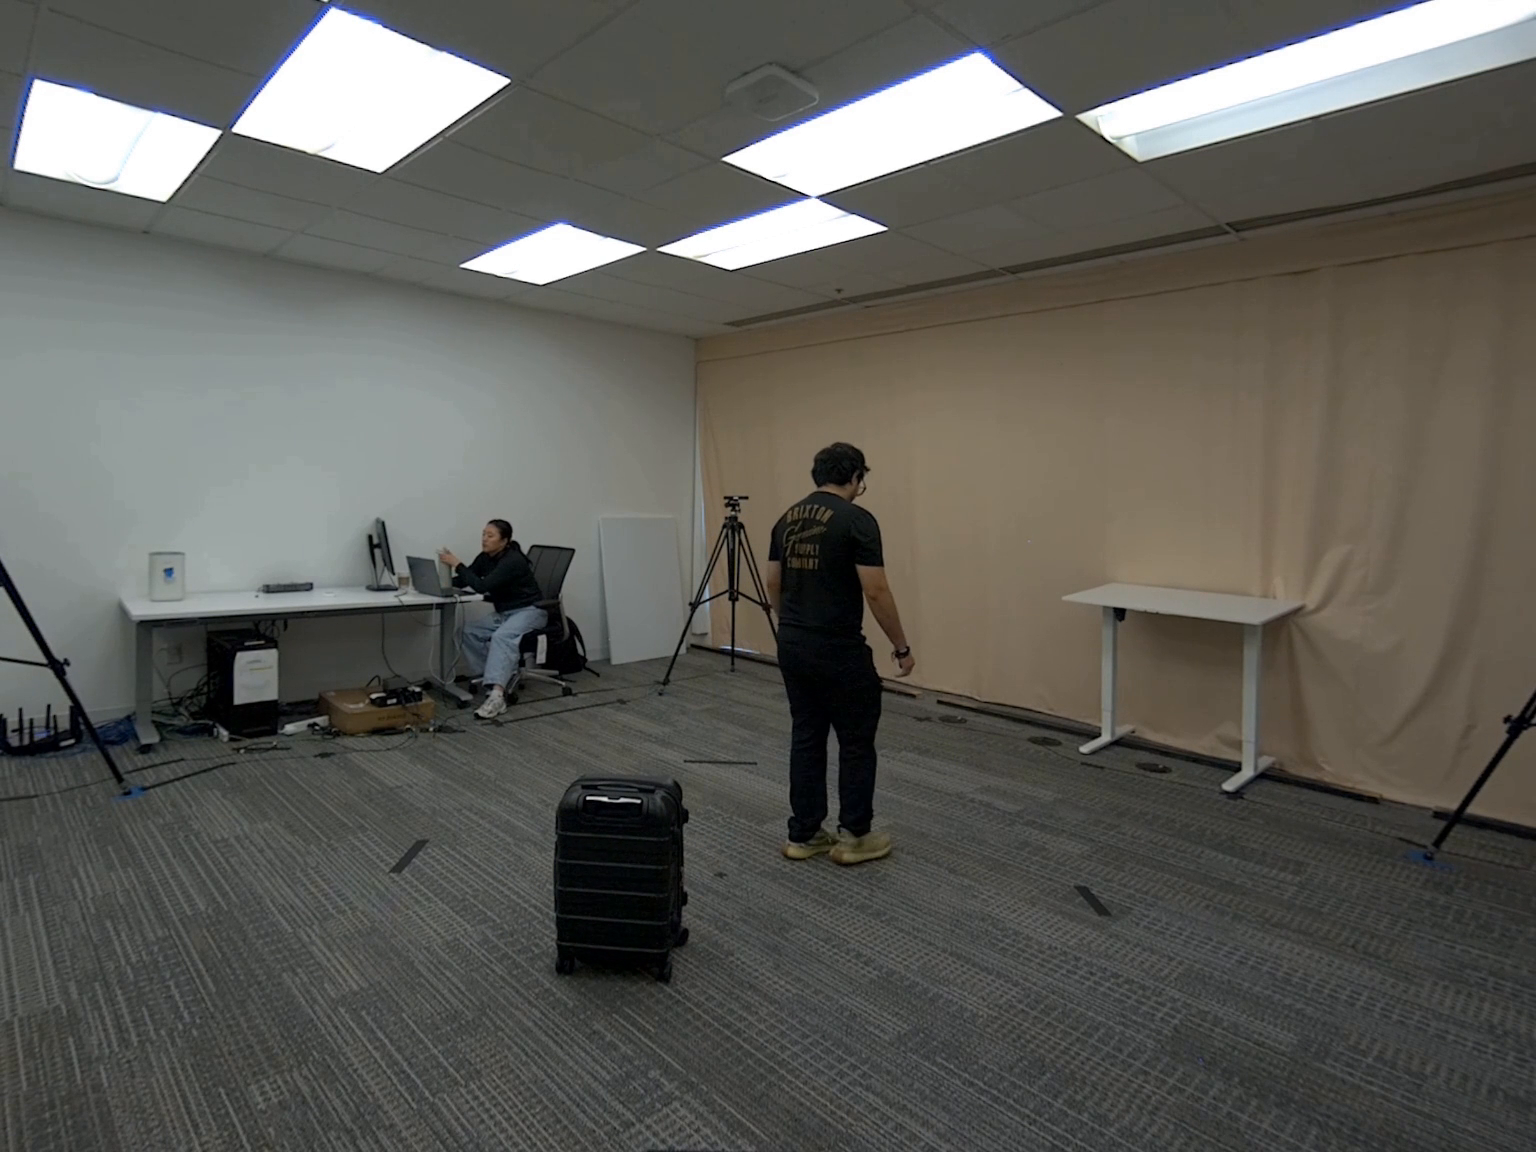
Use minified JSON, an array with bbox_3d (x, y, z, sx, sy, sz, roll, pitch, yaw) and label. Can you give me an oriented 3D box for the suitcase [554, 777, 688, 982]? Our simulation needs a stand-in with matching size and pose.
[{"bbox_3d":[-0.443,0.877,2.500,0.377,0.548,0.248,1,3,6],"label":"suitcase"}]
